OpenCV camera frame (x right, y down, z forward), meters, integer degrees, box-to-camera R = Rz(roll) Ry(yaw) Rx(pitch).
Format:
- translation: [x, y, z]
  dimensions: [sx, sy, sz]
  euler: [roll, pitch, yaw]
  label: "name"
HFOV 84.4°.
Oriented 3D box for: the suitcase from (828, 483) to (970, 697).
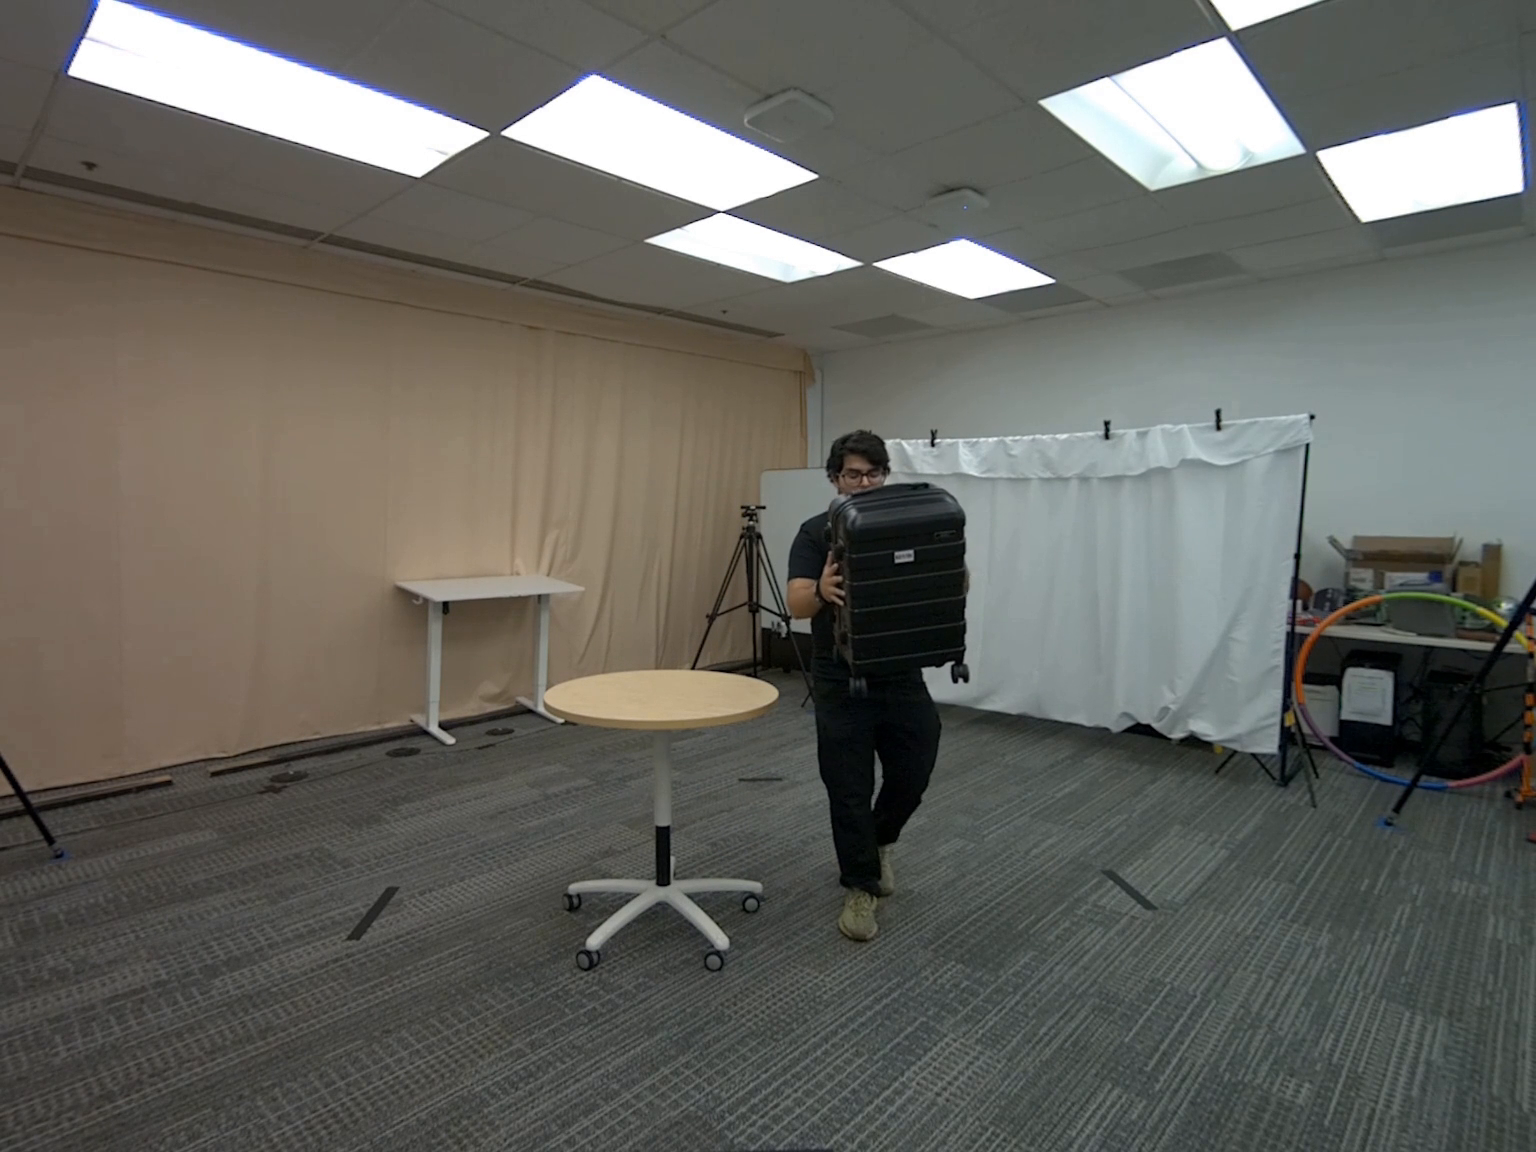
- translation: [0.371, 0.021, 2.392]
  dimensions: [0.374, 0.541, 0.253]
  euler: [-6, 21, -4]
  label: "suitcase"
